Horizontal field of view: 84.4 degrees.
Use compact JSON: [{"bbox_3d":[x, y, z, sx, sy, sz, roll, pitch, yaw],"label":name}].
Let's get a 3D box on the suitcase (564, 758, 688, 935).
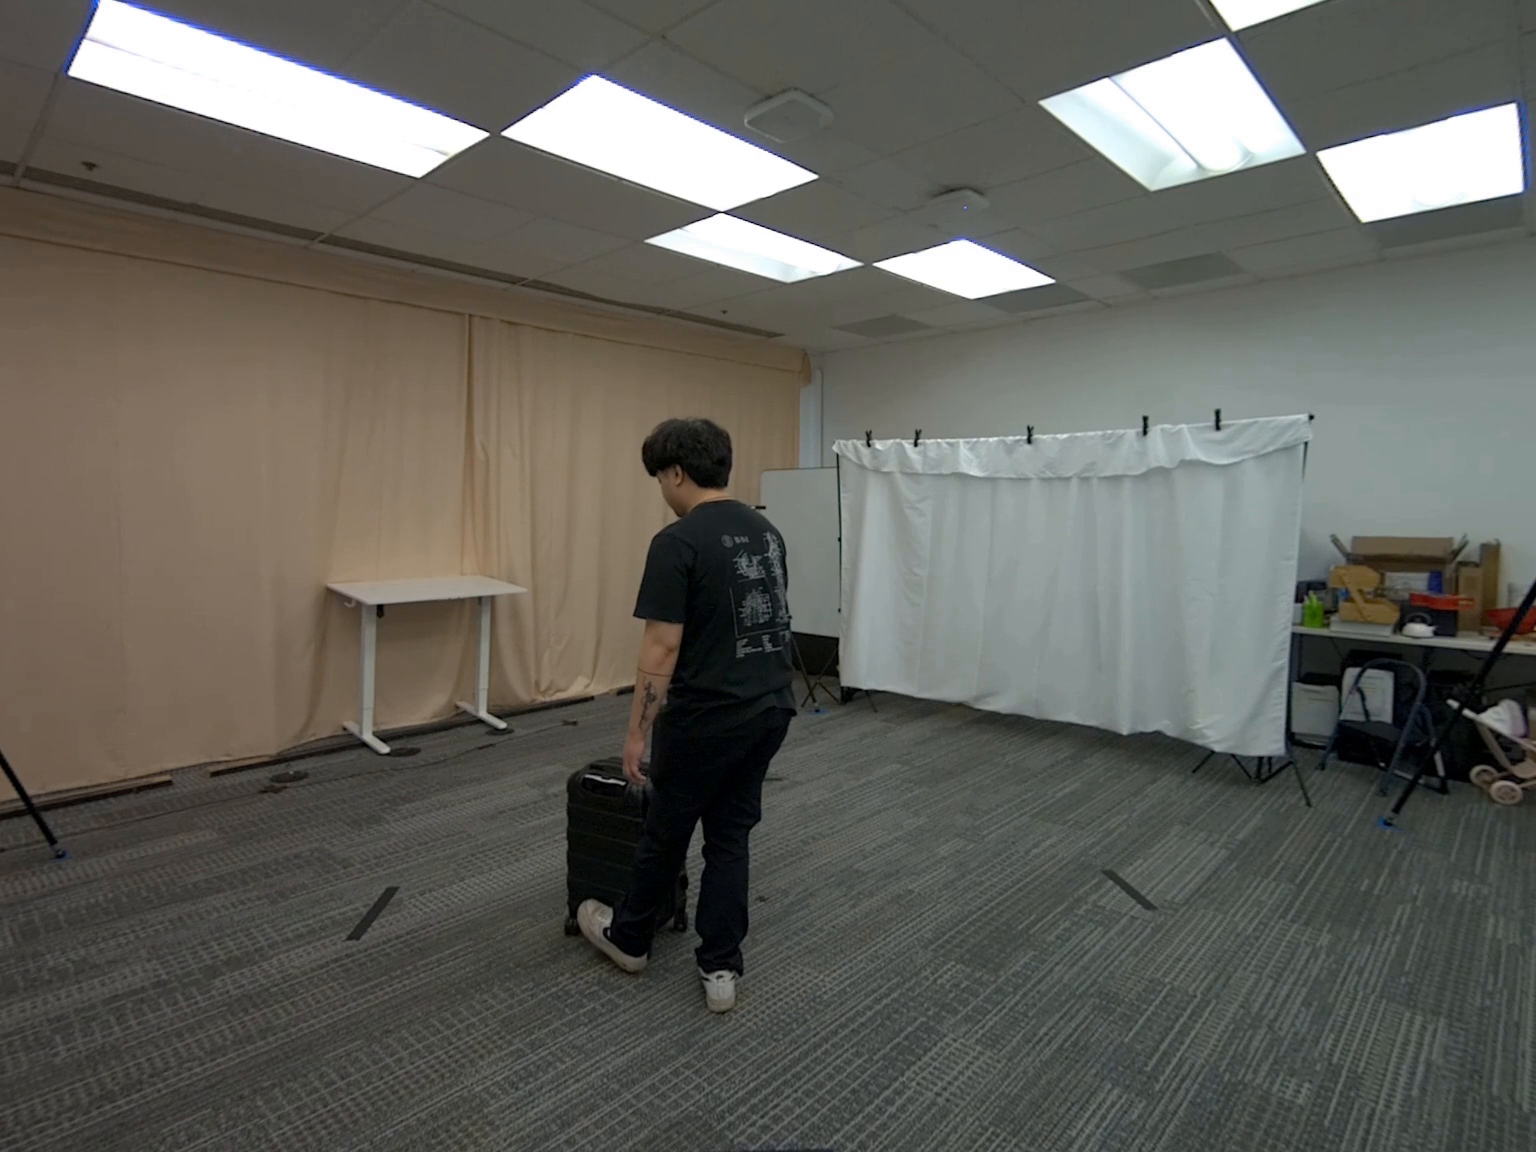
[{"bbox_3d":[-0.467,0.891,2.771,0.386,0.549,0.241,0,1,30],"label":"suitcase"}]
